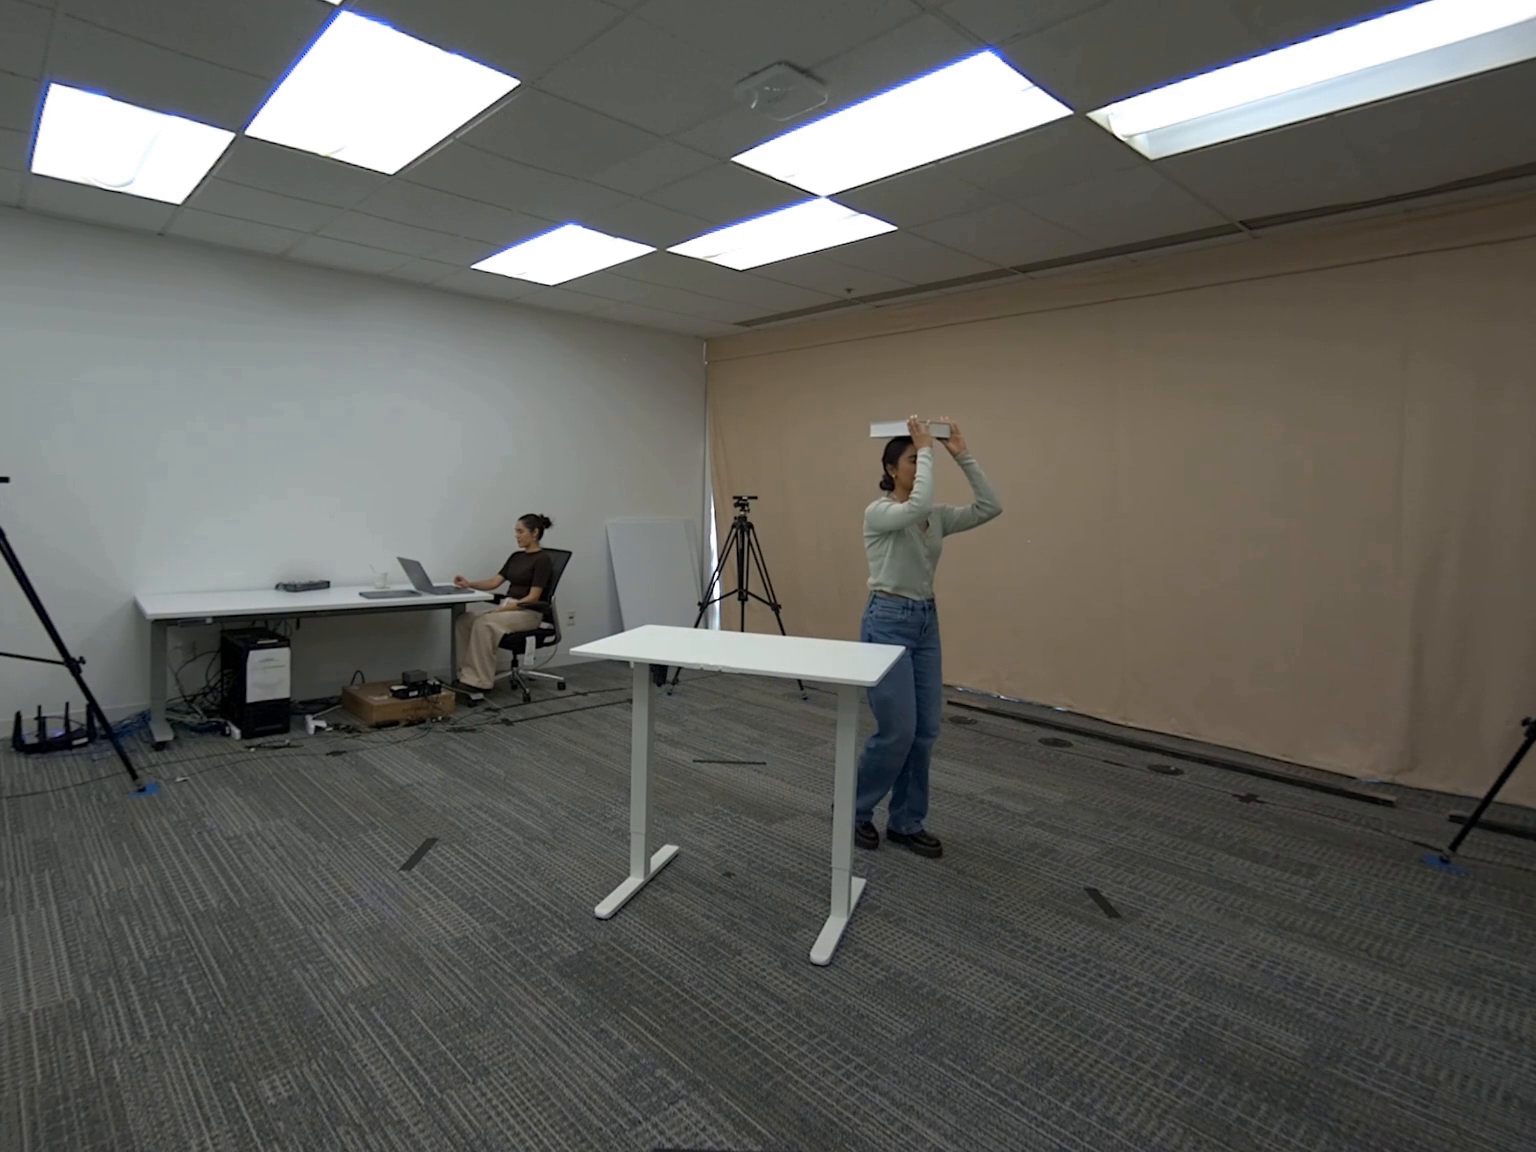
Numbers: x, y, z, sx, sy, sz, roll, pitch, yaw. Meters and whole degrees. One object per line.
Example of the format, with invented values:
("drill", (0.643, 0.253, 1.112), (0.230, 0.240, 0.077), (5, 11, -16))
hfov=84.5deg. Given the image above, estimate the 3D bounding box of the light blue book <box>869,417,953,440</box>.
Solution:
("light blue book", (0.558, -0.579, 3.334), (0.187, 0.059, 0.267), (-1, 5, -31))
